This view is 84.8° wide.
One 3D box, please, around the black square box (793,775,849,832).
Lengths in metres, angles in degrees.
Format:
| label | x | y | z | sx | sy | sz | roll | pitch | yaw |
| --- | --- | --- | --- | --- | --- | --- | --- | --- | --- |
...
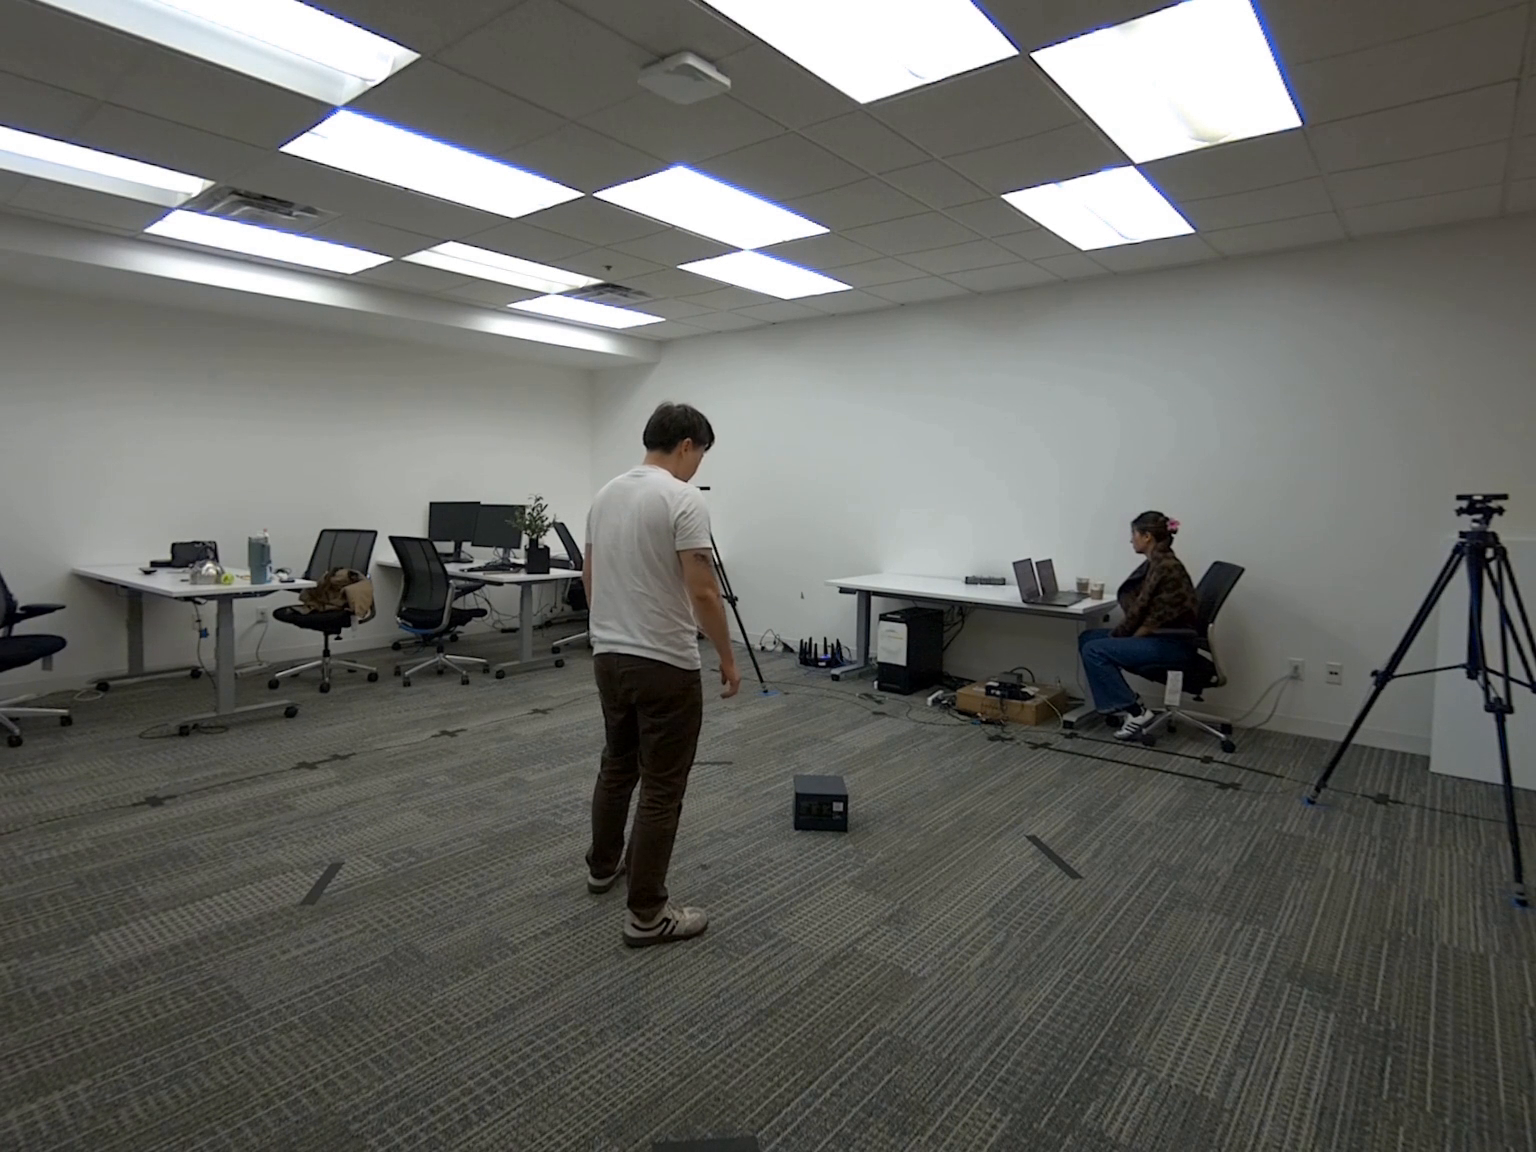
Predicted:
| label | x | y | z | sx | sy | sz | roll | pitch | yaw |
| --- | --- | --- | --- | --- | --- | --- | --- | --- | --- |
| black square box | 0.207 | 0.939 | 3.570 | 0.217 | 0.155 | 0.228 | 1 | 5 | 1 |
